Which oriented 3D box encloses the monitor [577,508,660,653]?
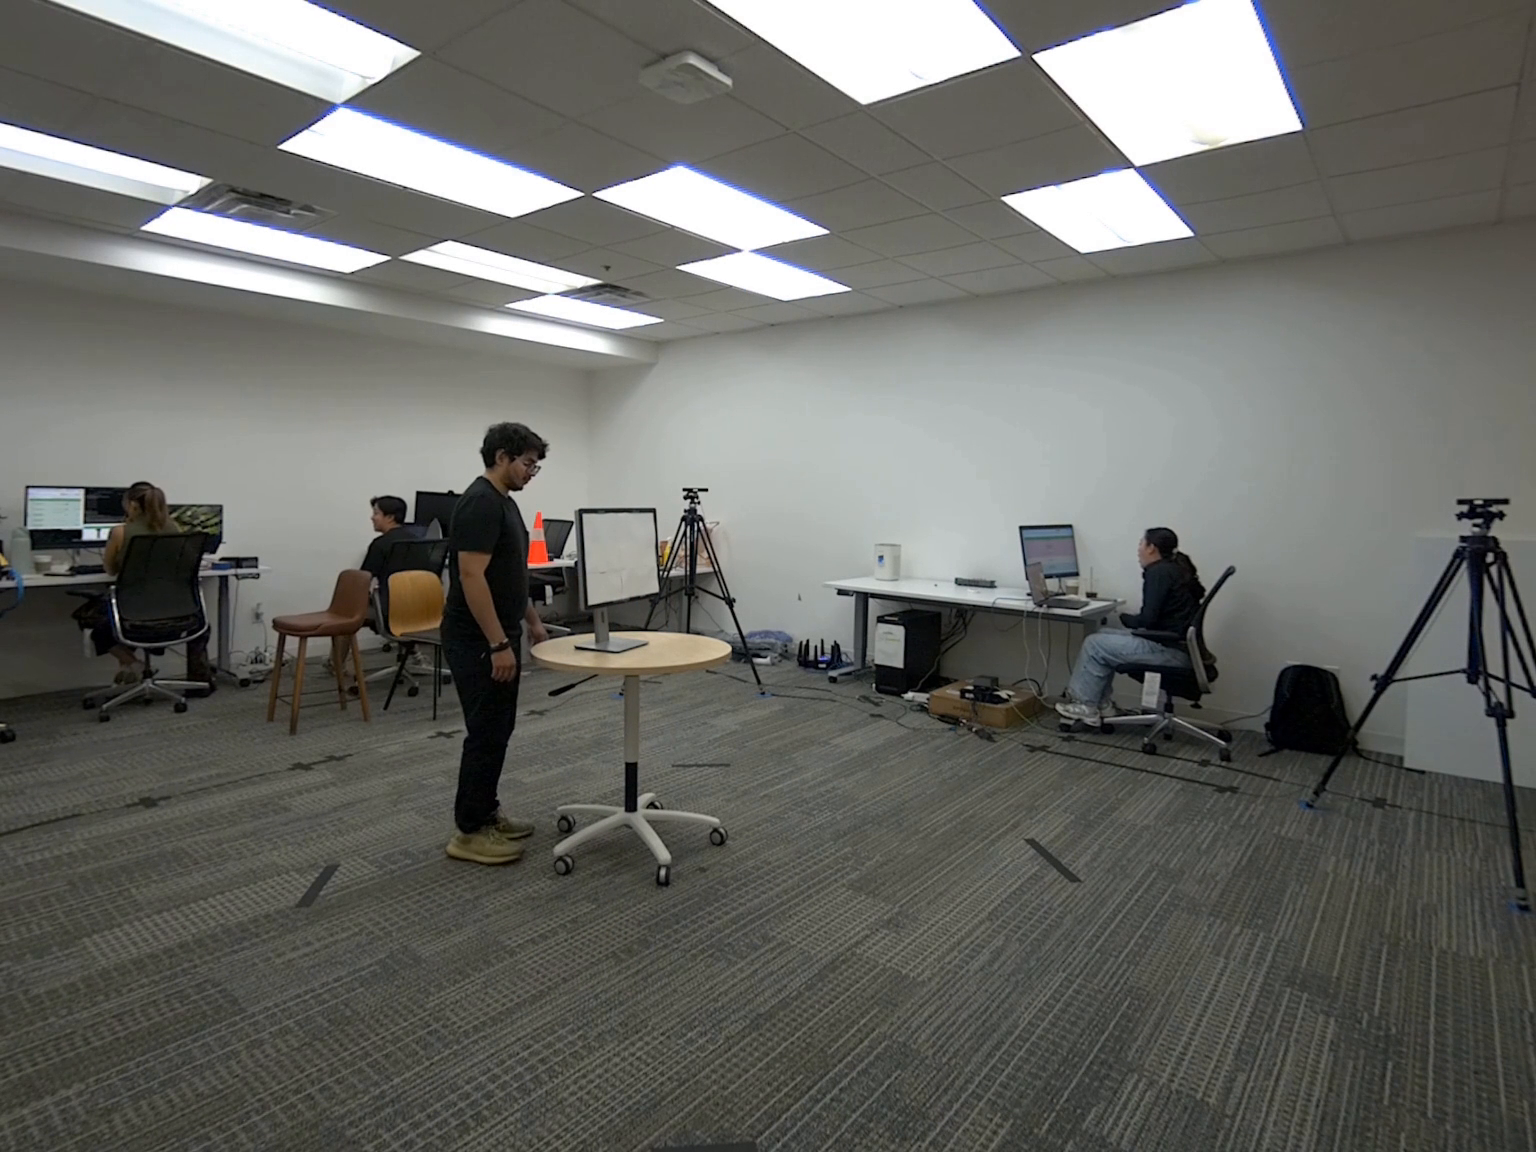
[{"bbox_3d":[-0.638,0.009,3.295,0.215,0.553,0.553,0,3,23],"label":"monitor"}]
